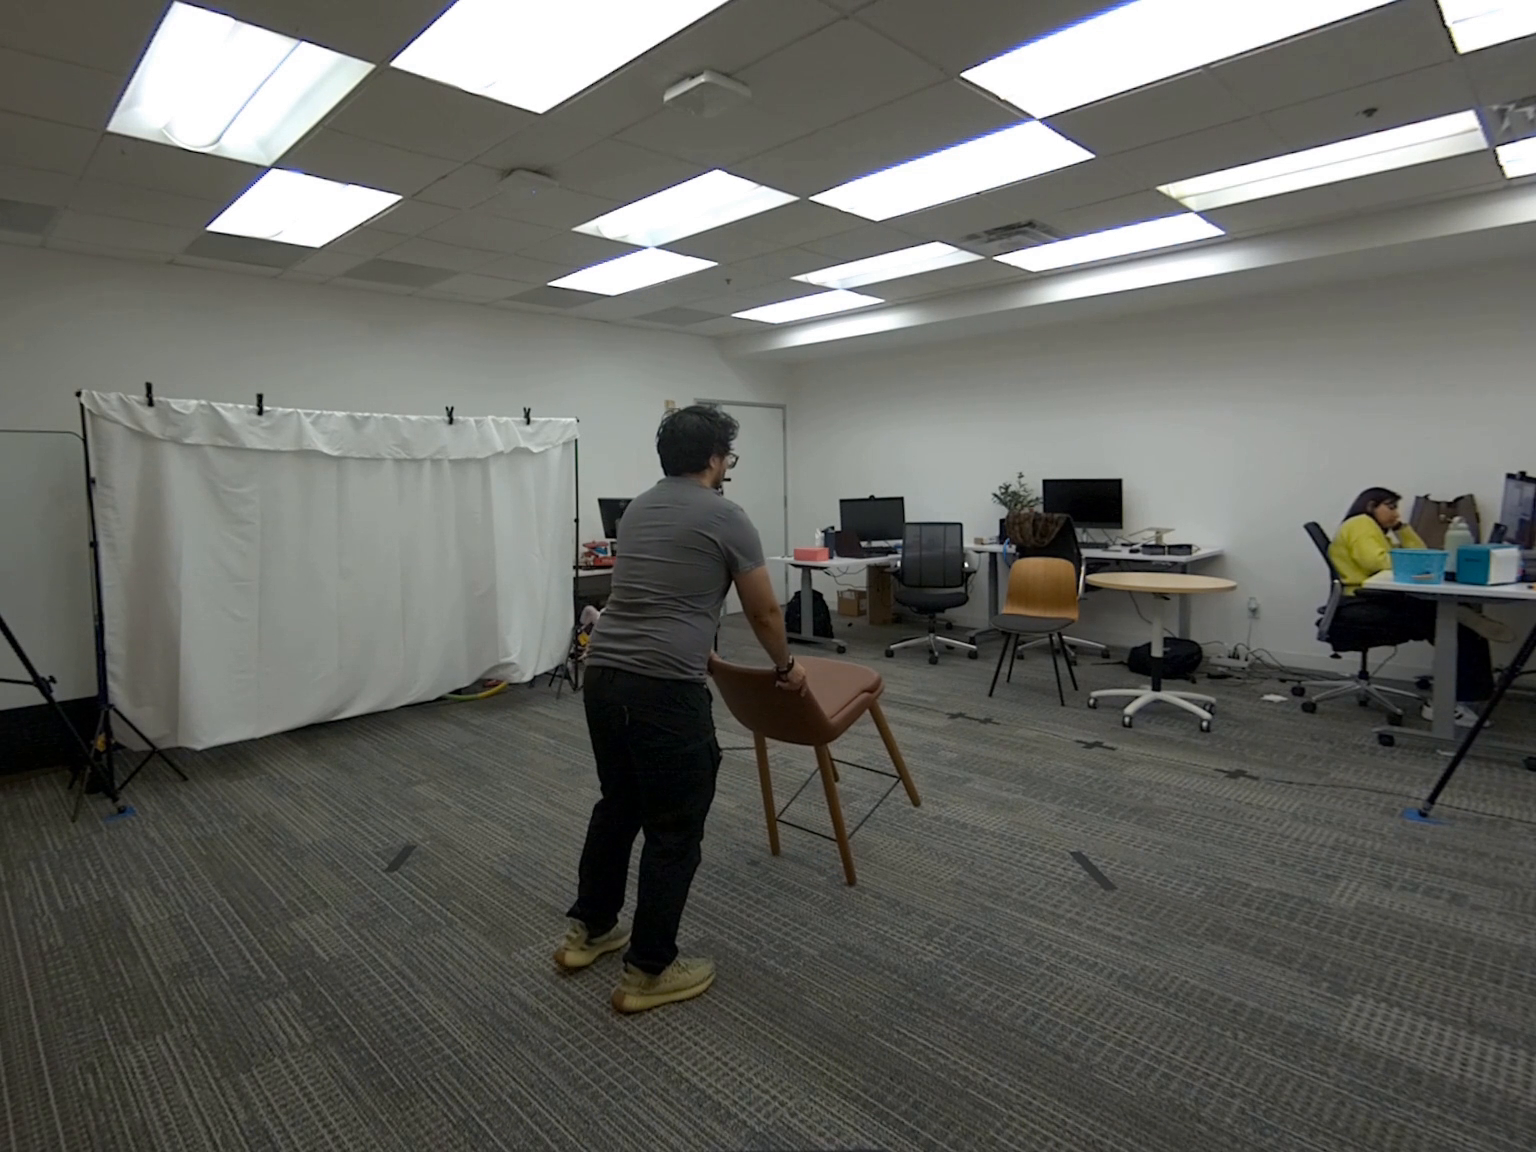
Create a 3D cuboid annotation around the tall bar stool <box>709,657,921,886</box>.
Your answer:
[{"bbox_3d":[0.164,0.562,3.035,0.471,0.869,0.464,4,31,44],"label":"tall bar stool"}]
